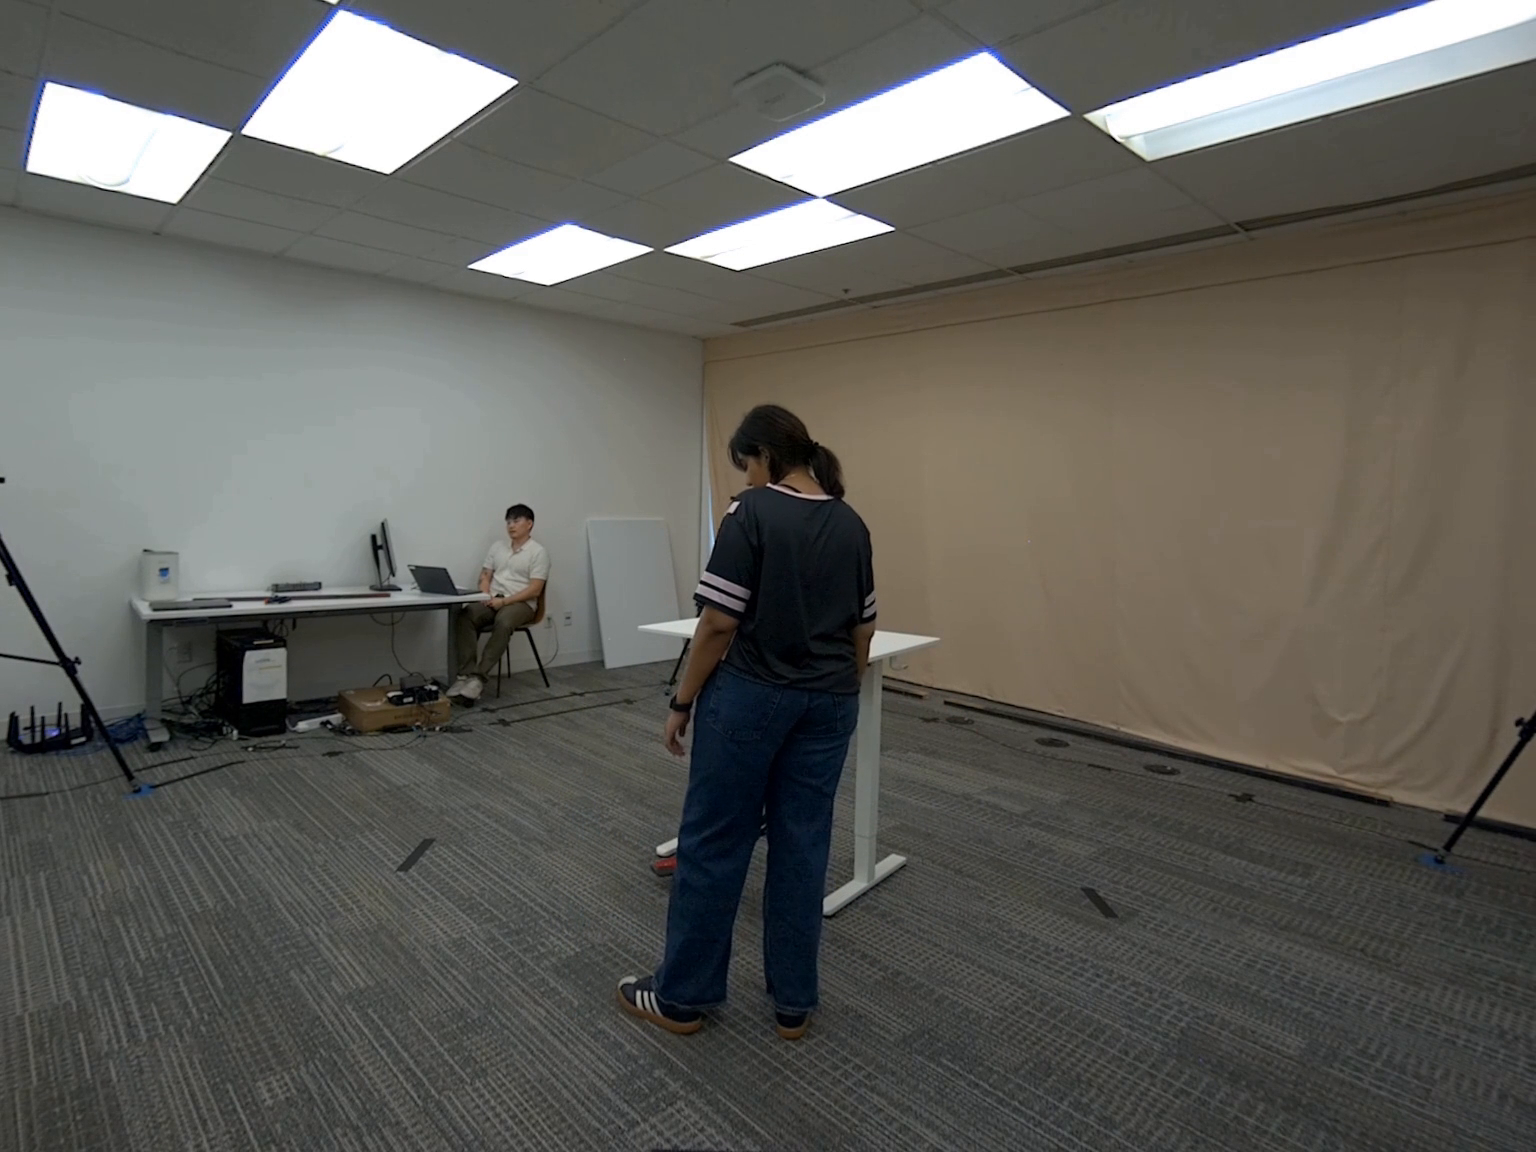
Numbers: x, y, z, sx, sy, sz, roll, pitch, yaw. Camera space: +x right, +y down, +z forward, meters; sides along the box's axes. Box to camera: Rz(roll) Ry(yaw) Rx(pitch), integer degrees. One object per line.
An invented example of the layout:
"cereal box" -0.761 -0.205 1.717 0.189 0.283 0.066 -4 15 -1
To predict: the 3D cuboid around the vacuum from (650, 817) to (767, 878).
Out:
"vacuum" -0.027 0.773 2.711 0.247 0.147 1.047 -6 -31 -41
